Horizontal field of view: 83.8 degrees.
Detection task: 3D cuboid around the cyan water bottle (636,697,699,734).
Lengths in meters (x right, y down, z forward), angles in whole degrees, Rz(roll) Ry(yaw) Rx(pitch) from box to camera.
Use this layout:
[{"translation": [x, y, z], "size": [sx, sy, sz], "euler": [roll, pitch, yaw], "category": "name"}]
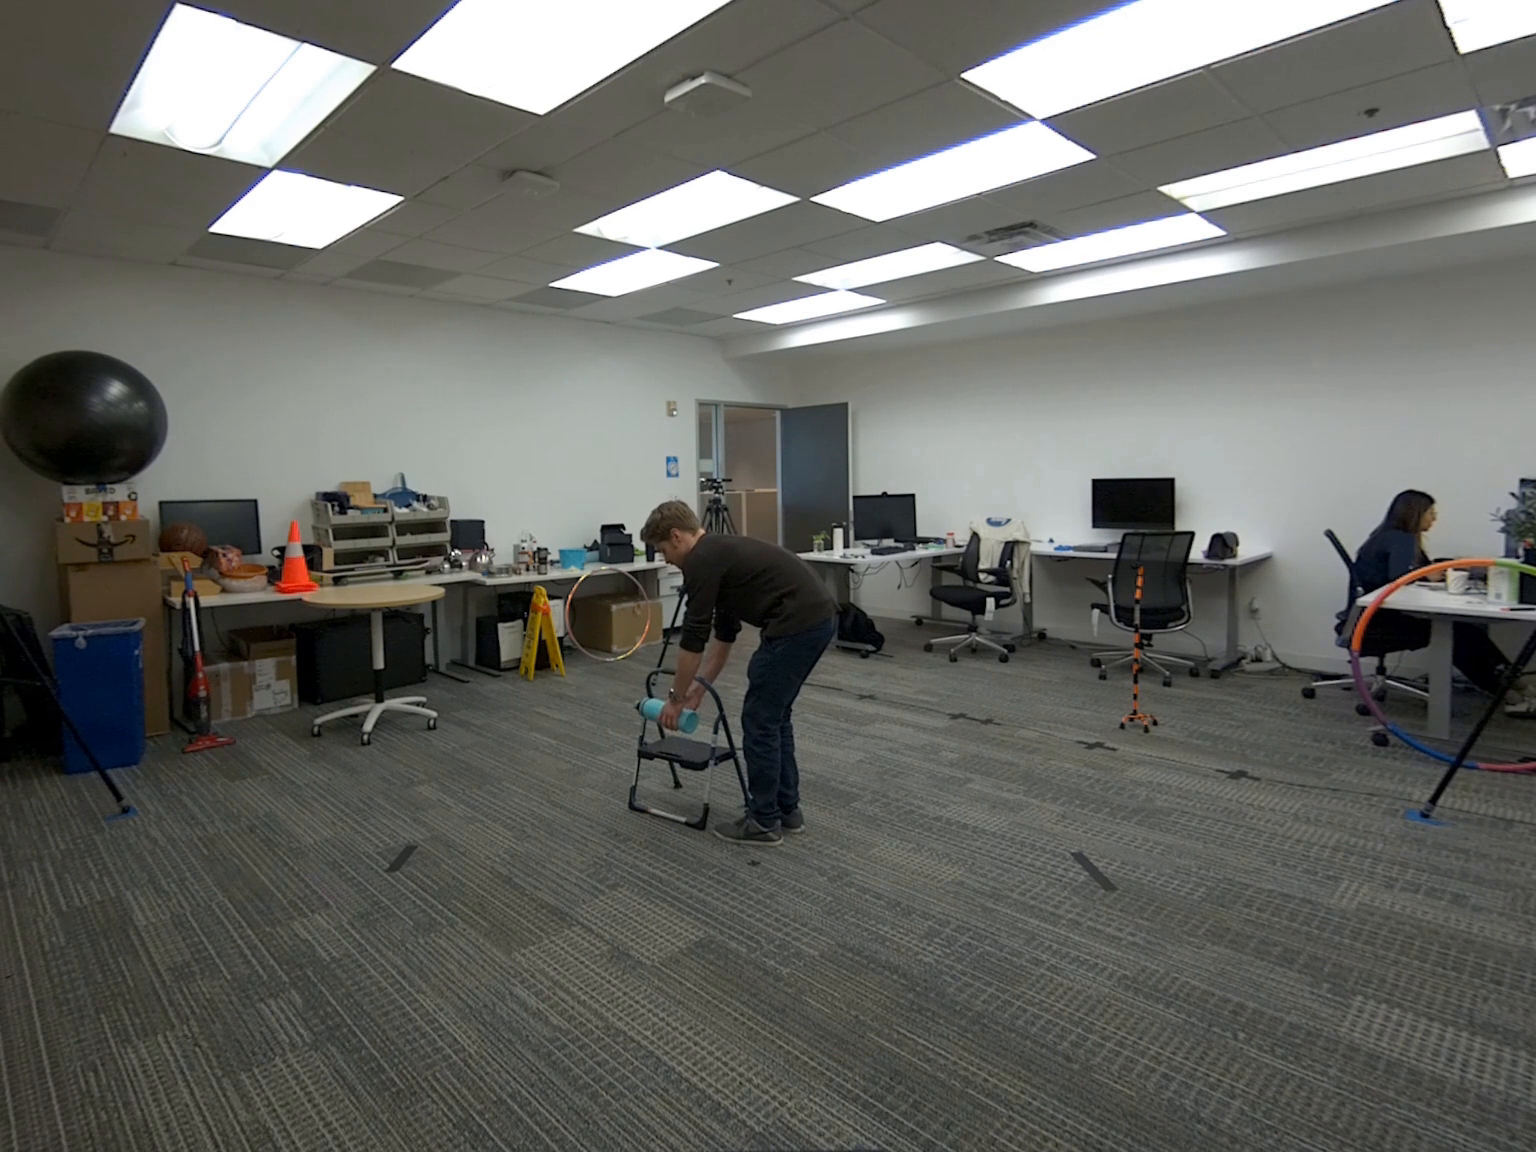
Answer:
[{"translation": [-0.415, 0.546, 3.437], "size": [0.292, 0.092, 0.090], "euler": [8, 9, 33], "category": "cyan water bottle"}]
